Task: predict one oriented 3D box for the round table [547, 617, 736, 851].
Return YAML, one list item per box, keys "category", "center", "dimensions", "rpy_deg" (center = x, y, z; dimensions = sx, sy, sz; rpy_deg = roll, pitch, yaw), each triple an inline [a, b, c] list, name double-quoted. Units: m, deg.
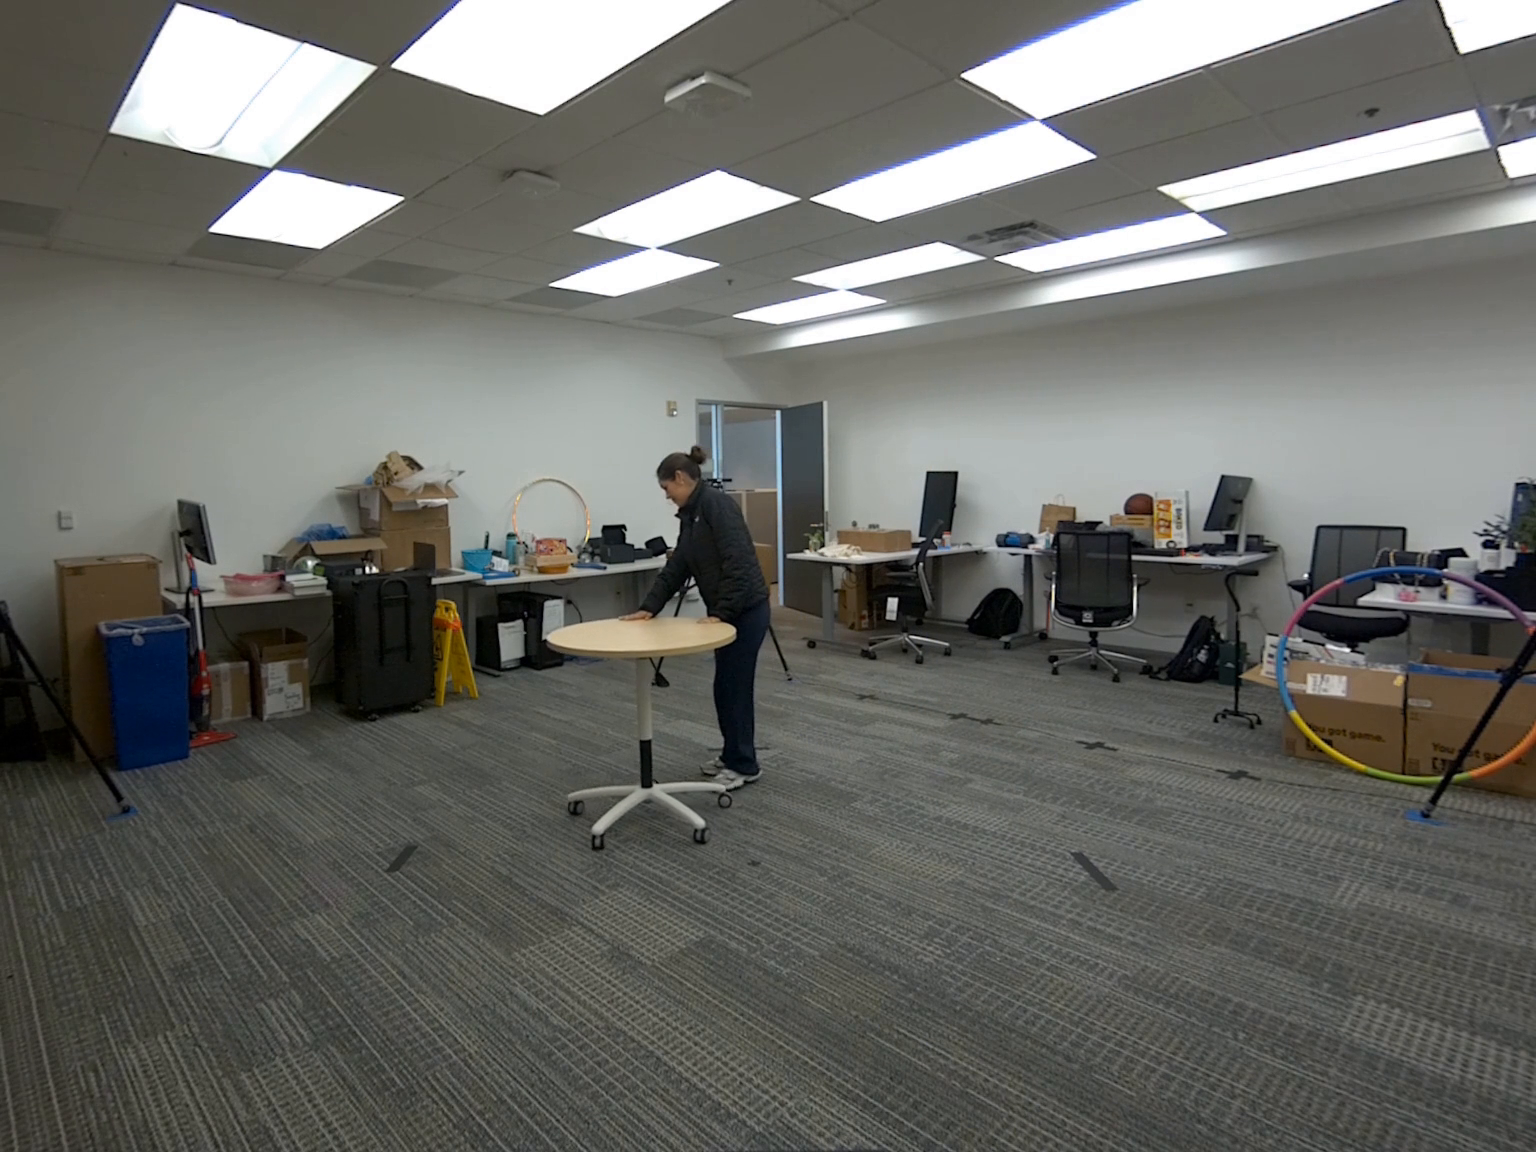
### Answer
- category: "round table"
  center: [-0.503, 0.613, 3.521]
  dimensions: [0.784, 0.783, 0.789]
  rpy_deg: [-1, 5, -2]
